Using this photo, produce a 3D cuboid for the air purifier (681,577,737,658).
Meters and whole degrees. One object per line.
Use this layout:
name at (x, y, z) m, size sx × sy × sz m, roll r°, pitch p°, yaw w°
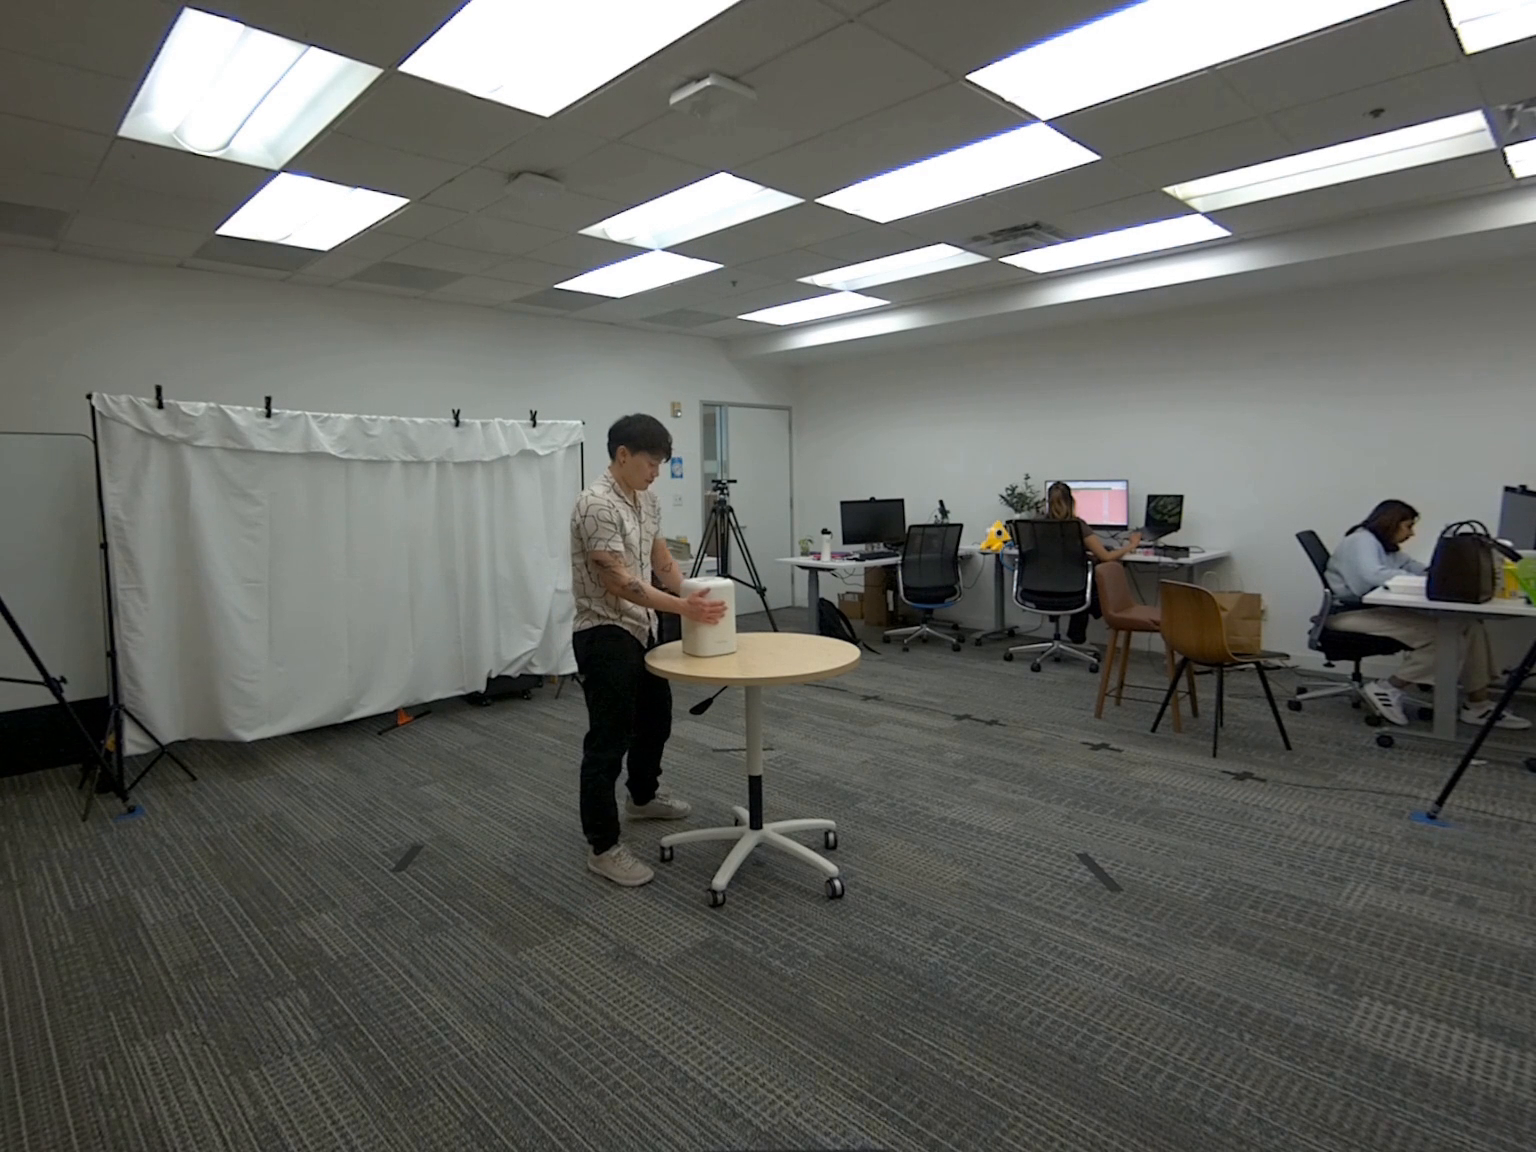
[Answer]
air purifier at (-0.215, 0.140, 3.074) m, size 0.167 × 0.264 × 0.176 m, roll -4°, pitch 6°, yaw -33°
